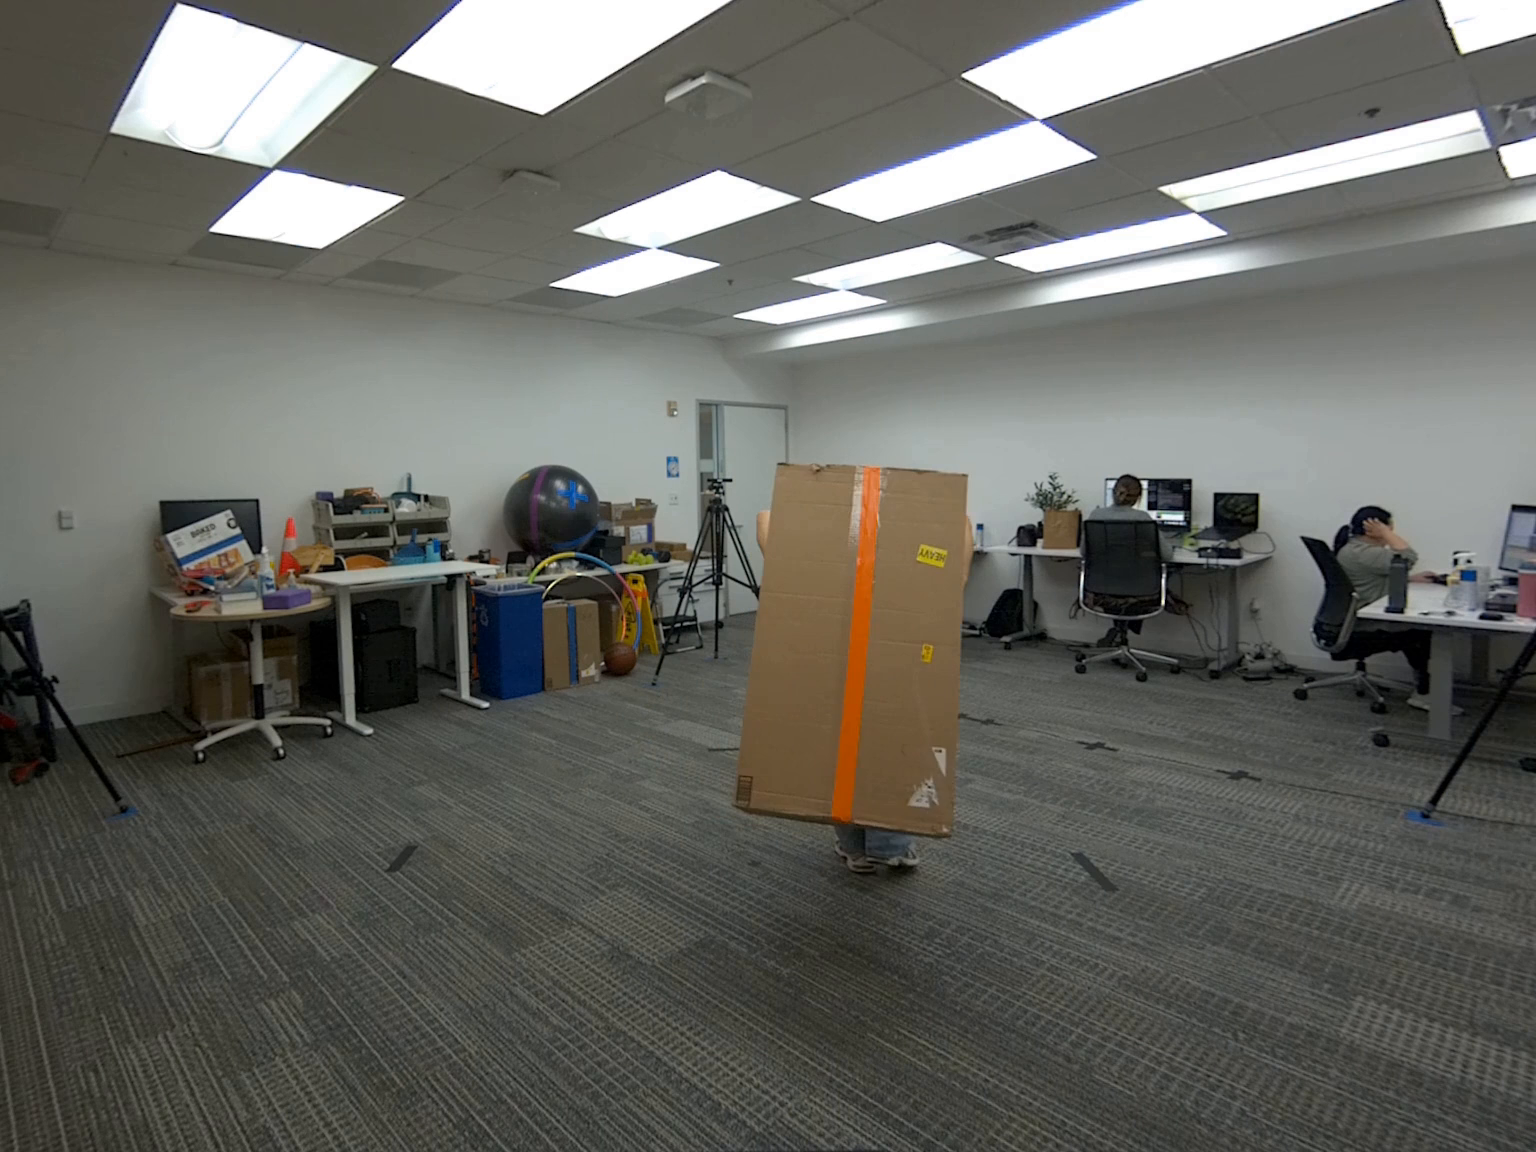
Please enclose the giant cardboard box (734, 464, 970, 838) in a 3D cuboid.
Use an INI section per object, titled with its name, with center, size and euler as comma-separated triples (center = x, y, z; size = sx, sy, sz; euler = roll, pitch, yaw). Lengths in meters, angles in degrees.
[giant cardboard box]
center = 0.271, 0.224, 2.592
size = 0.583, 1.041, 0.416
euler = 4, -19, 8
